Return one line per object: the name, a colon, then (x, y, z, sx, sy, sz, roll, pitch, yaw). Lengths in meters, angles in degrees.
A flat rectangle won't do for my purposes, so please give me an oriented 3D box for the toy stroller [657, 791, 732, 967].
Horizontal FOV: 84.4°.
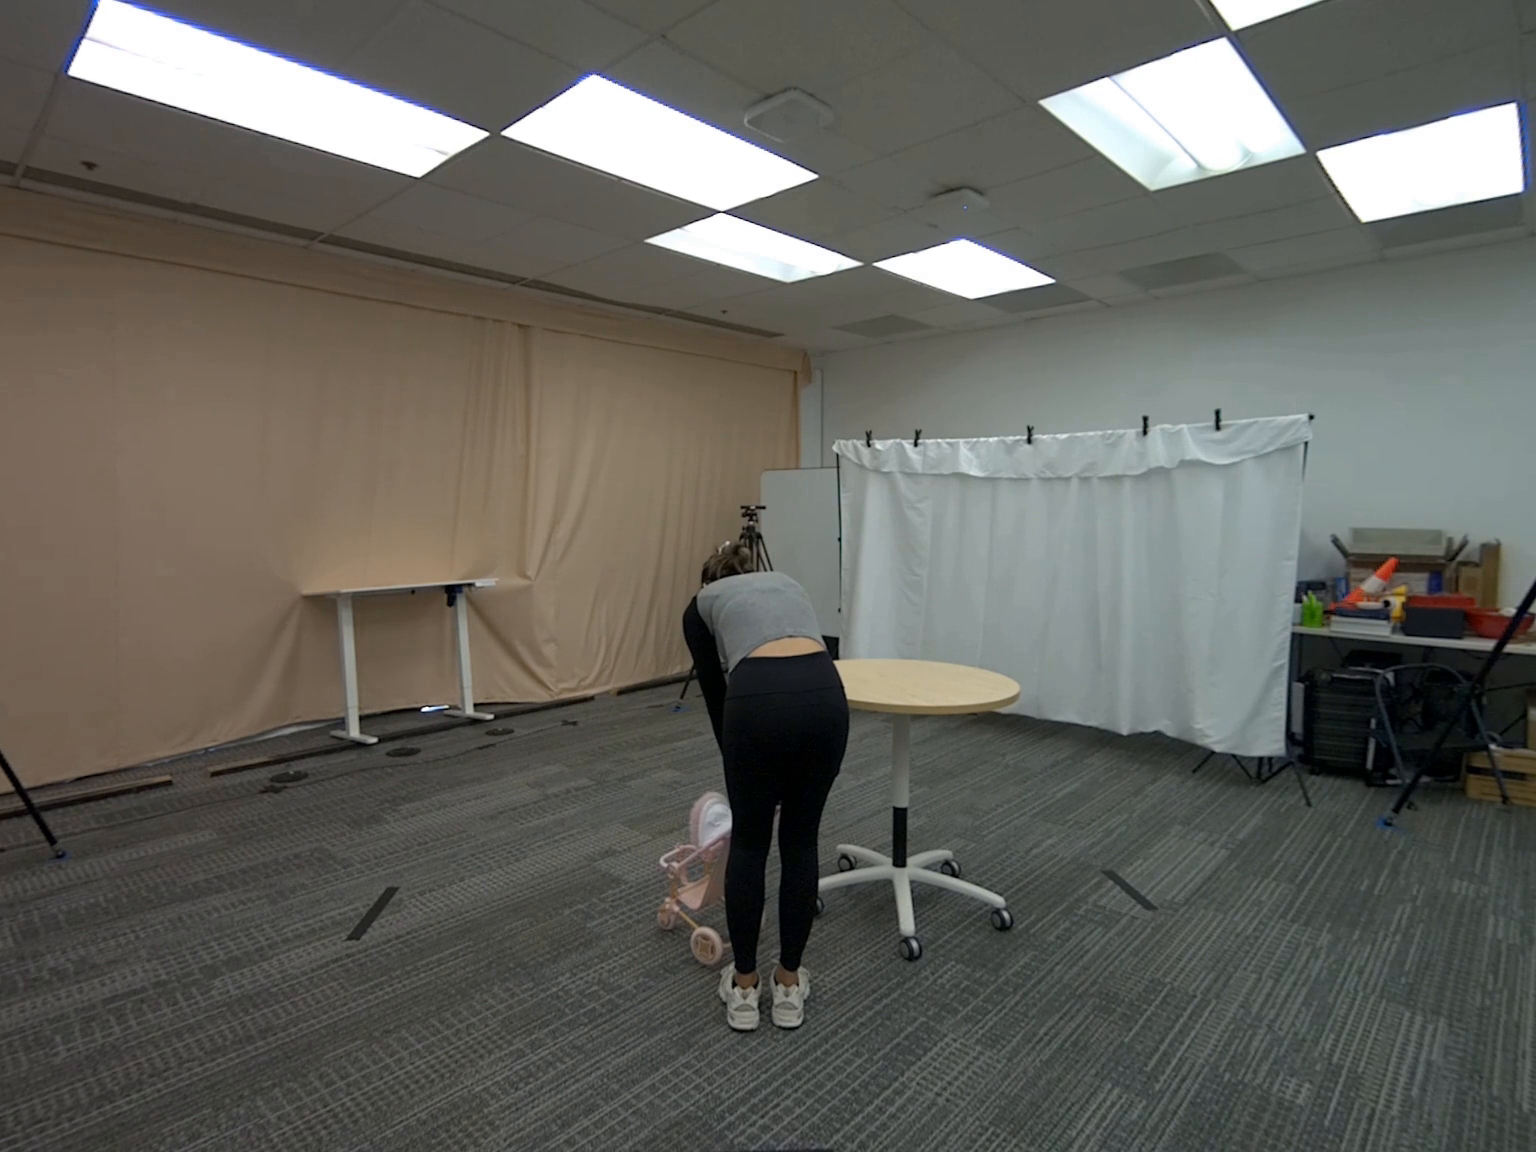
toy stroller: (-0.179, 0.933, 2.672, 0.353, 0.533, 0.273, 14, 8, 36)
